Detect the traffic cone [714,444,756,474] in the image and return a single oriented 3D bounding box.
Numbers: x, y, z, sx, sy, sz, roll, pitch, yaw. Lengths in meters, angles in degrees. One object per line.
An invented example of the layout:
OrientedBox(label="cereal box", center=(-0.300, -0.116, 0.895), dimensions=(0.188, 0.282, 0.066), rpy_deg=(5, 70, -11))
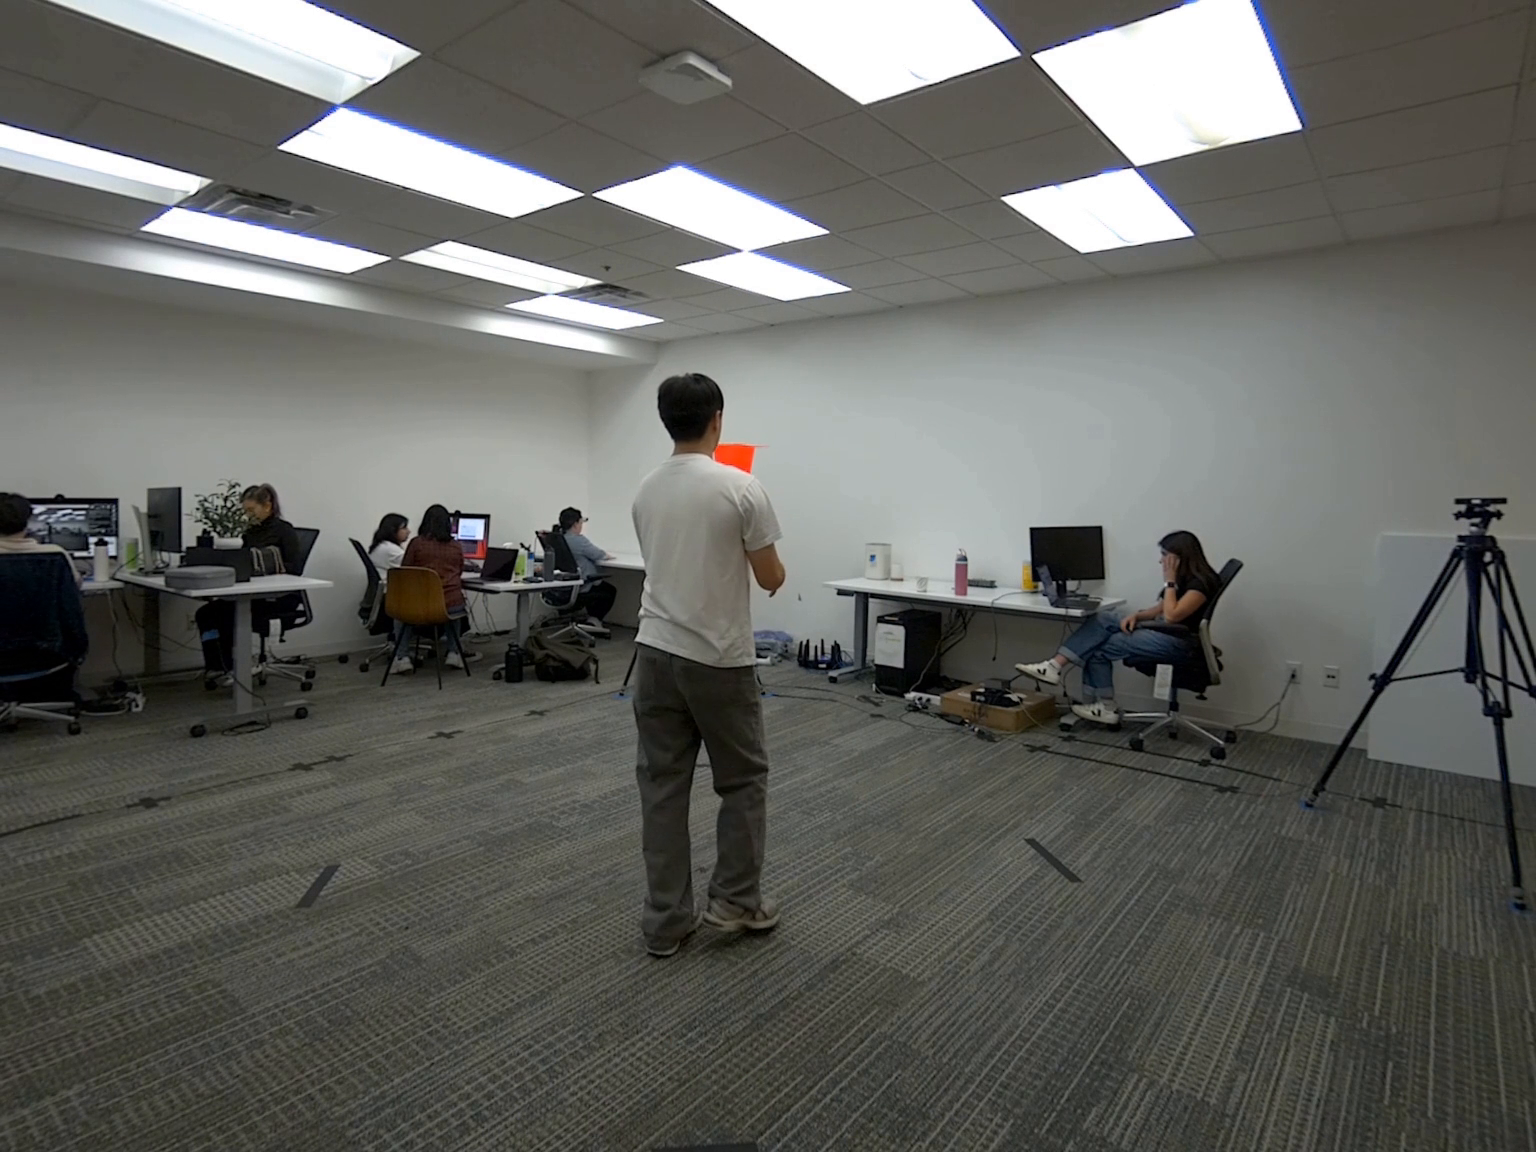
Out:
OrientedBox(label="traffic cone", center=(-0.129, -0.305, 3.170), dimensions=(0.210, 0.382, 0.199), rpy_deg=(5, 6, 38))
